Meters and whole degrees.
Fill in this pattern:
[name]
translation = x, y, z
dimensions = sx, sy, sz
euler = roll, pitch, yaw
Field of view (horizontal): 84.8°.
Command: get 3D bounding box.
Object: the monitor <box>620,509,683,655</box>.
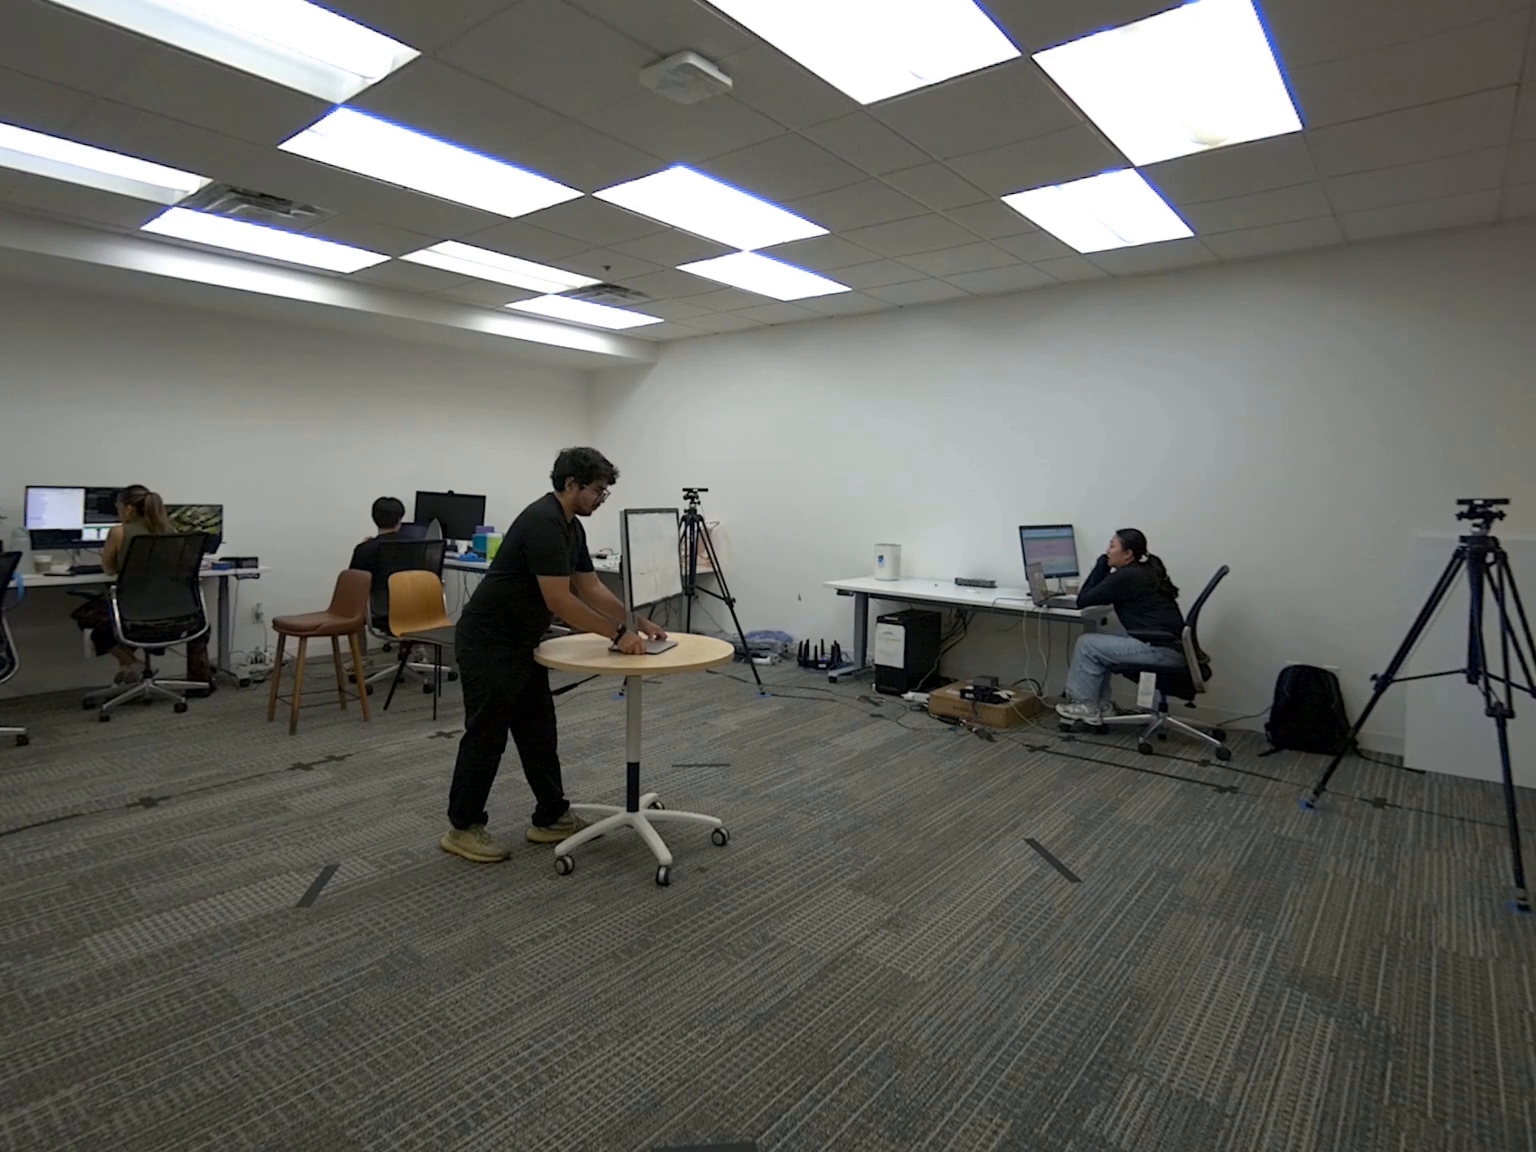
[monitor]
translation = -0.509, 0.011, 3.261
dimensions = 0.213, 0.552, 0.558
euler = 1, 4, 14
